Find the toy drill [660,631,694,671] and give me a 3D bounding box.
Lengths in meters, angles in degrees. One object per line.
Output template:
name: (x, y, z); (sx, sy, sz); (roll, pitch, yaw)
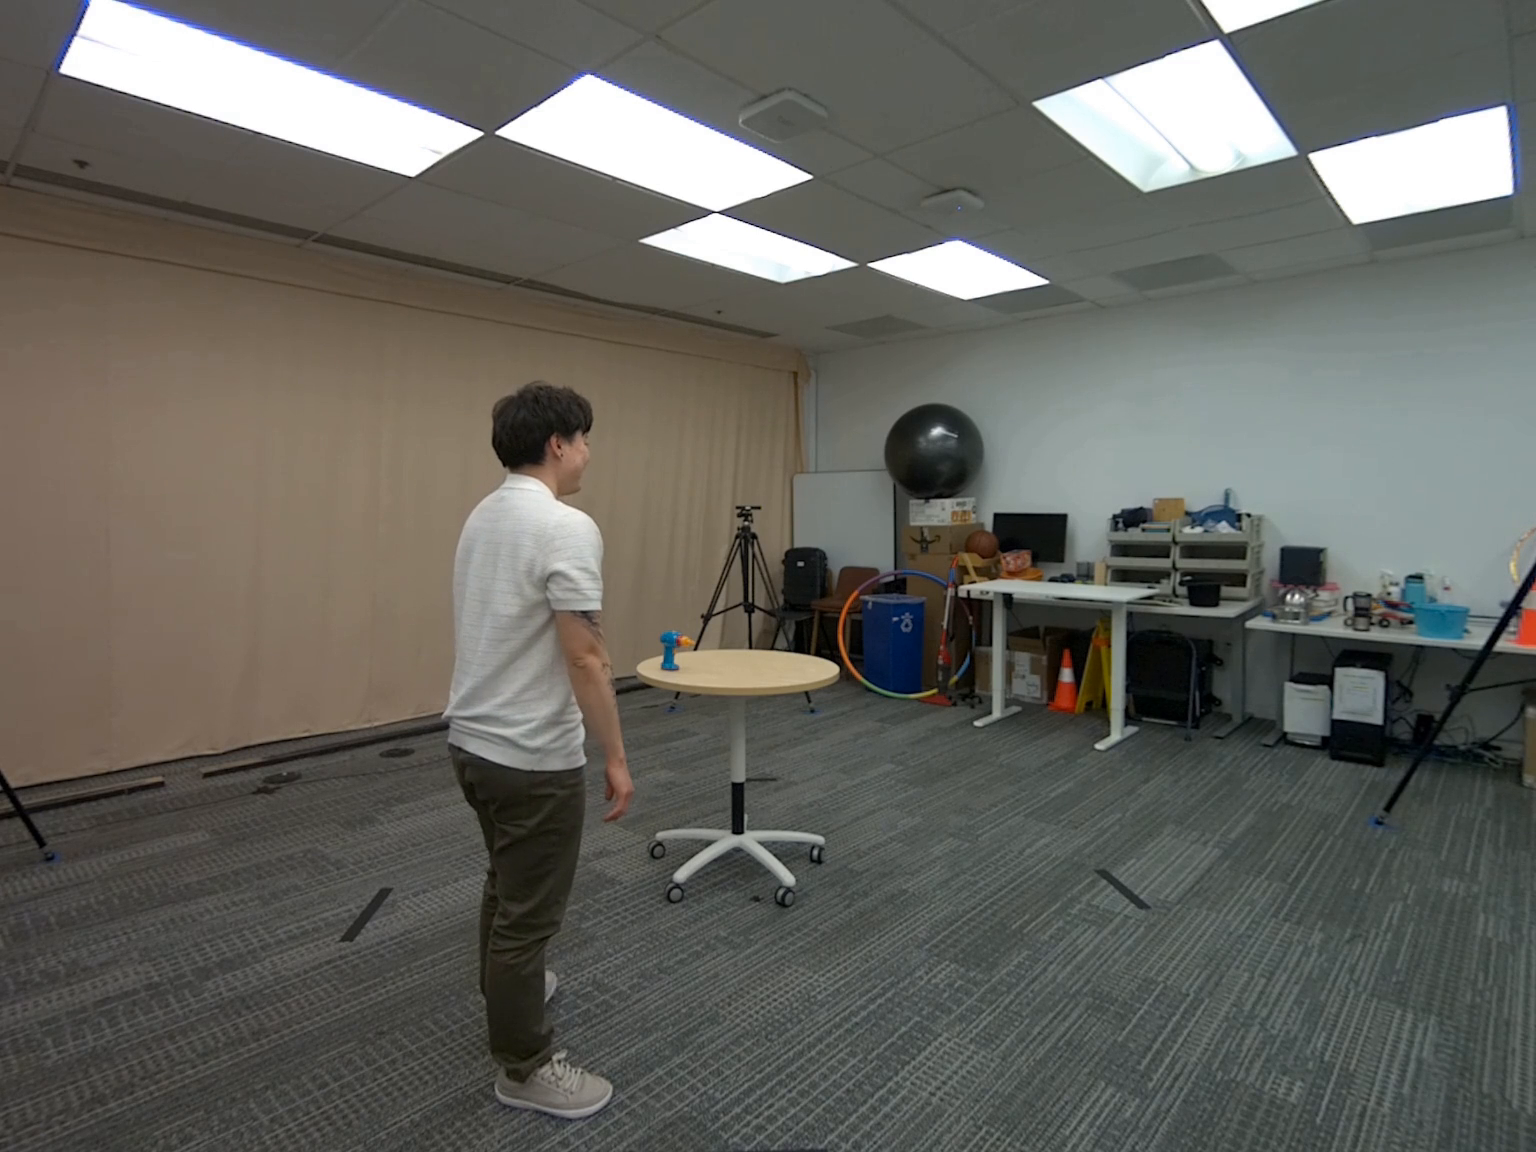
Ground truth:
toy drill: (-0.324, 0.277, 3.111); (0.175, 0.146, 0.059); (2, 1, 34)
